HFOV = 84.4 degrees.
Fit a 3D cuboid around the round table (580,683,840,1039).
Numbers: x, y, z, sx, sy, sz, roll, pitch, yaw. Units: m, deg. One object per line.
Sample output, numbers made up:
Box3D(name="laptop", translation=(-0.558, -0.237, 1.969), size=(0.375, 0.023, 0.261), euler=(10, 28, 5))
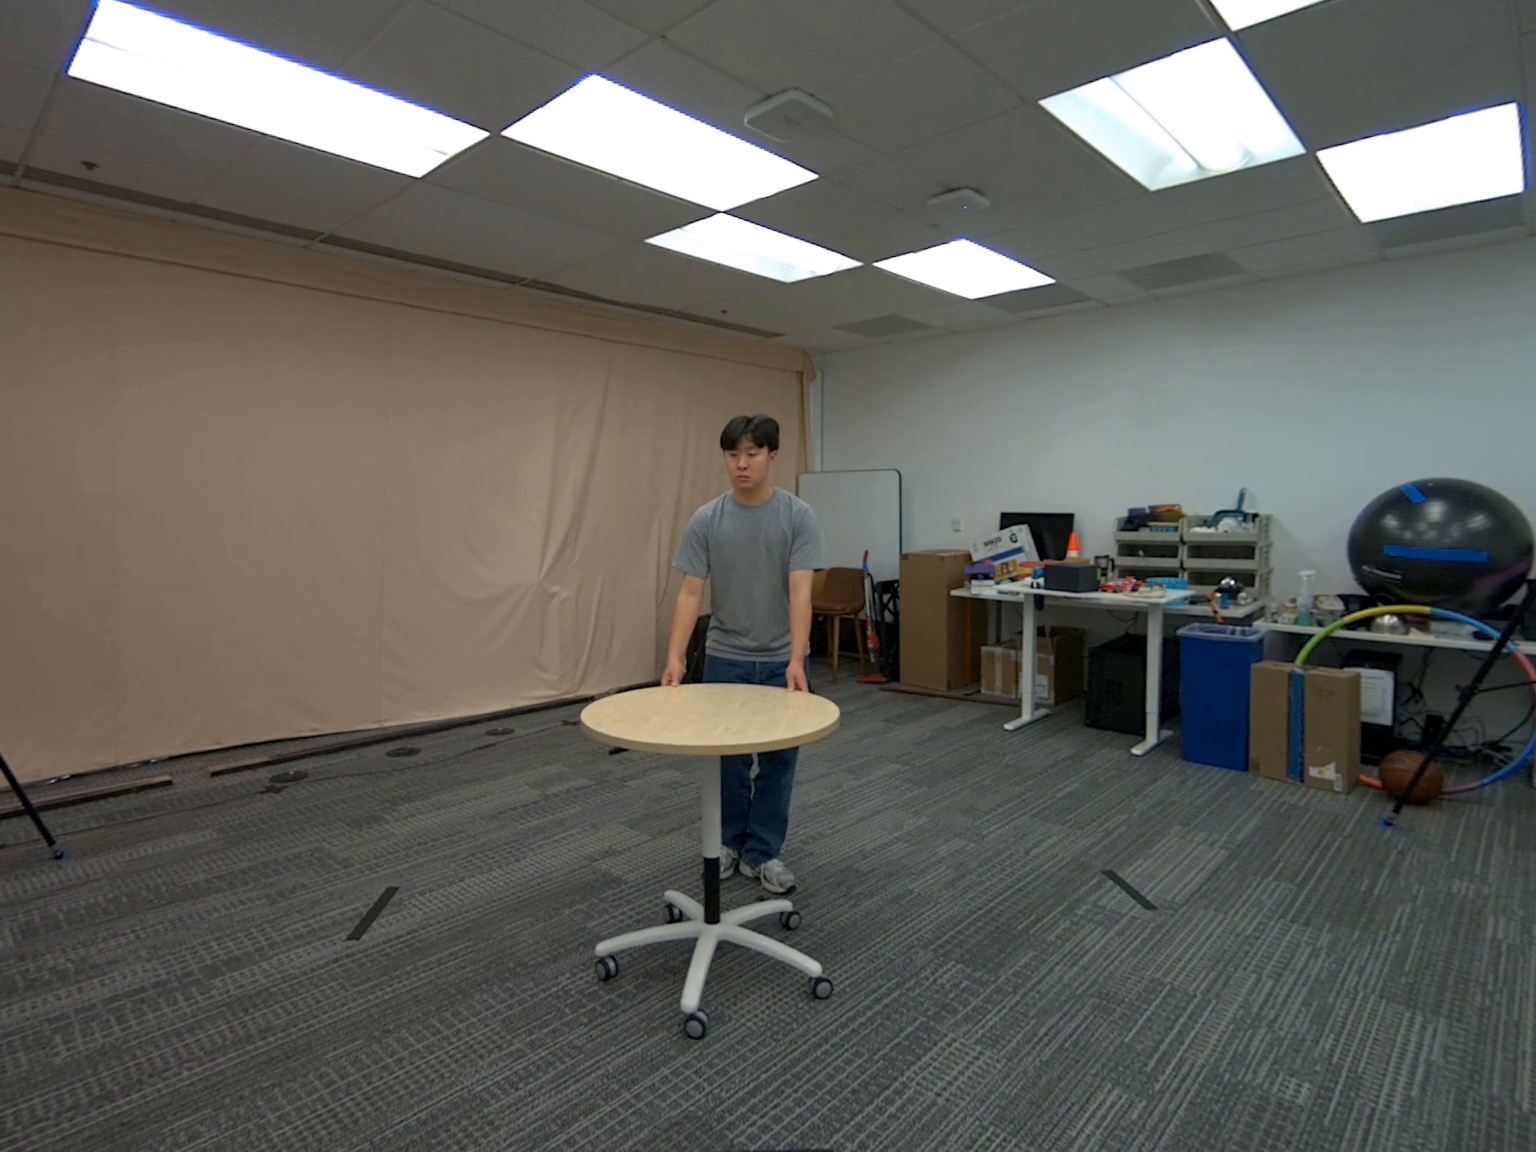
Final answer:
Box3D(name="round table", translation=(-0.166, 0.791, 2.532), size=(0.763, 0.792, 0.766), euler=(0, 4, -2))
